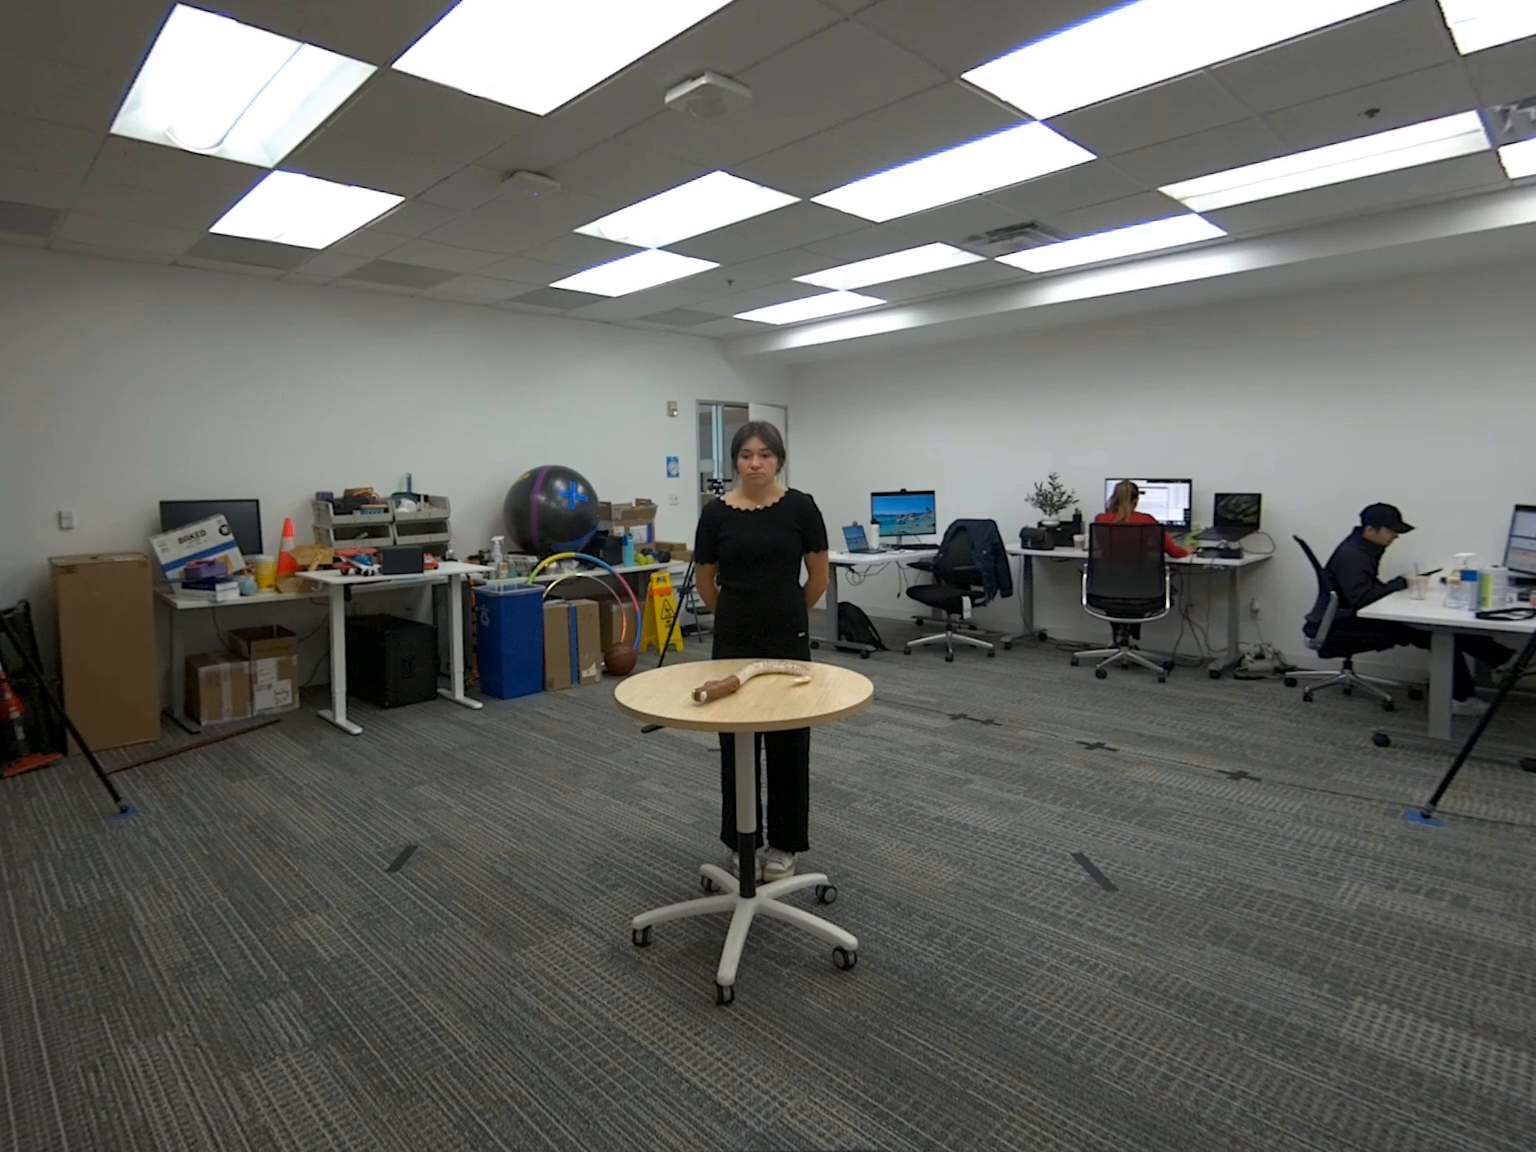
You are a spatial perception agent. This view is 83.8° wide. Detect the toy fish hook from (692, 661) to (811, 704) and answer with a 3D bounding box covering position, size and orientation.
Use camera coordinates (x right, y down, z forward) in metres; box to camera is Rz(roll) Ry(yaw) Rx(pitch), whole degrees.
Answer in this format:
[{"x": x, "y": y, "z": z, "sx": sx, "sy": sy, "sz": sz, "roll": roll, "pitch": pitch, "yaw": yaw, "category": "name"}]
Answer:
[{"x": -0.027, "y": 0.313, "z": 2.501, "sx": 0.230, "sy": 0.048, "sz": 0.495, "roll": -3, "pitch": 4, "yaw": 29, "category": "toy fish hook"}]
